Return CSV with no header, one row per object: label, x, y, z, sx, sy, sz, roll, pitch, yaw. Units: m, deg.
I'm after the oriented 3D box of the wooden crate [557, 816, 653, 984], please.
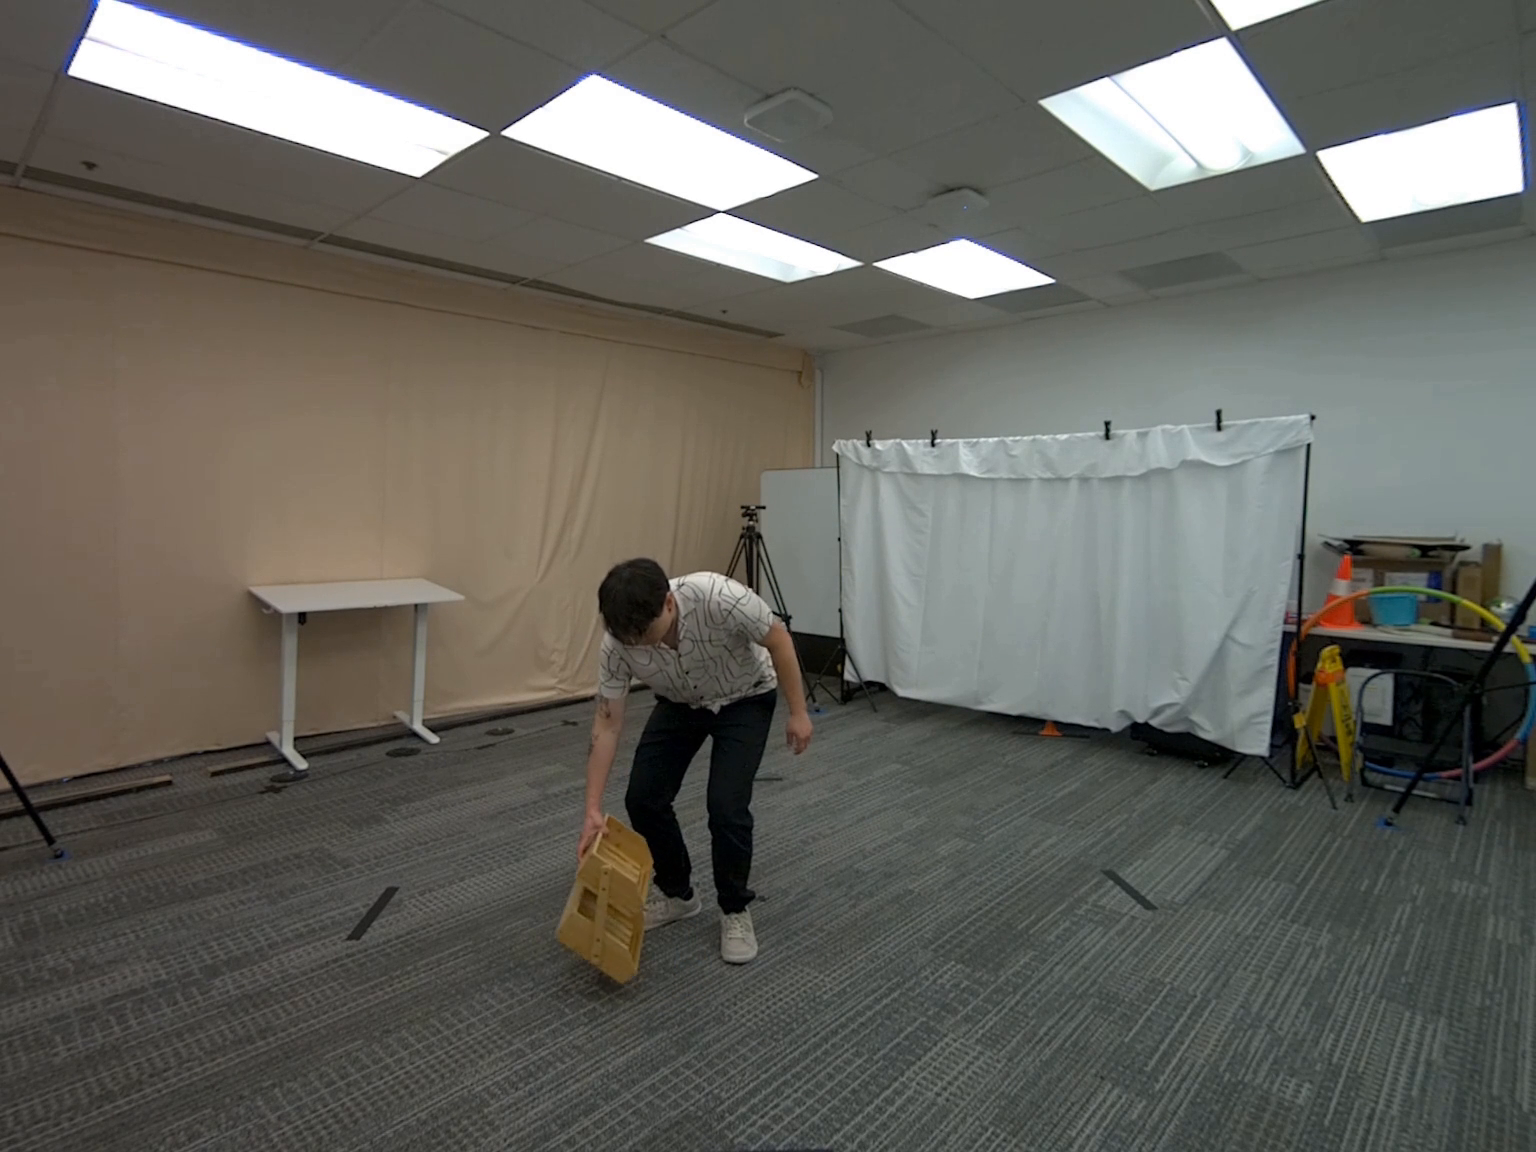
wooden crate,-0.438,0.941,2.483,0.301,0.273,0.326,35,3,-5
